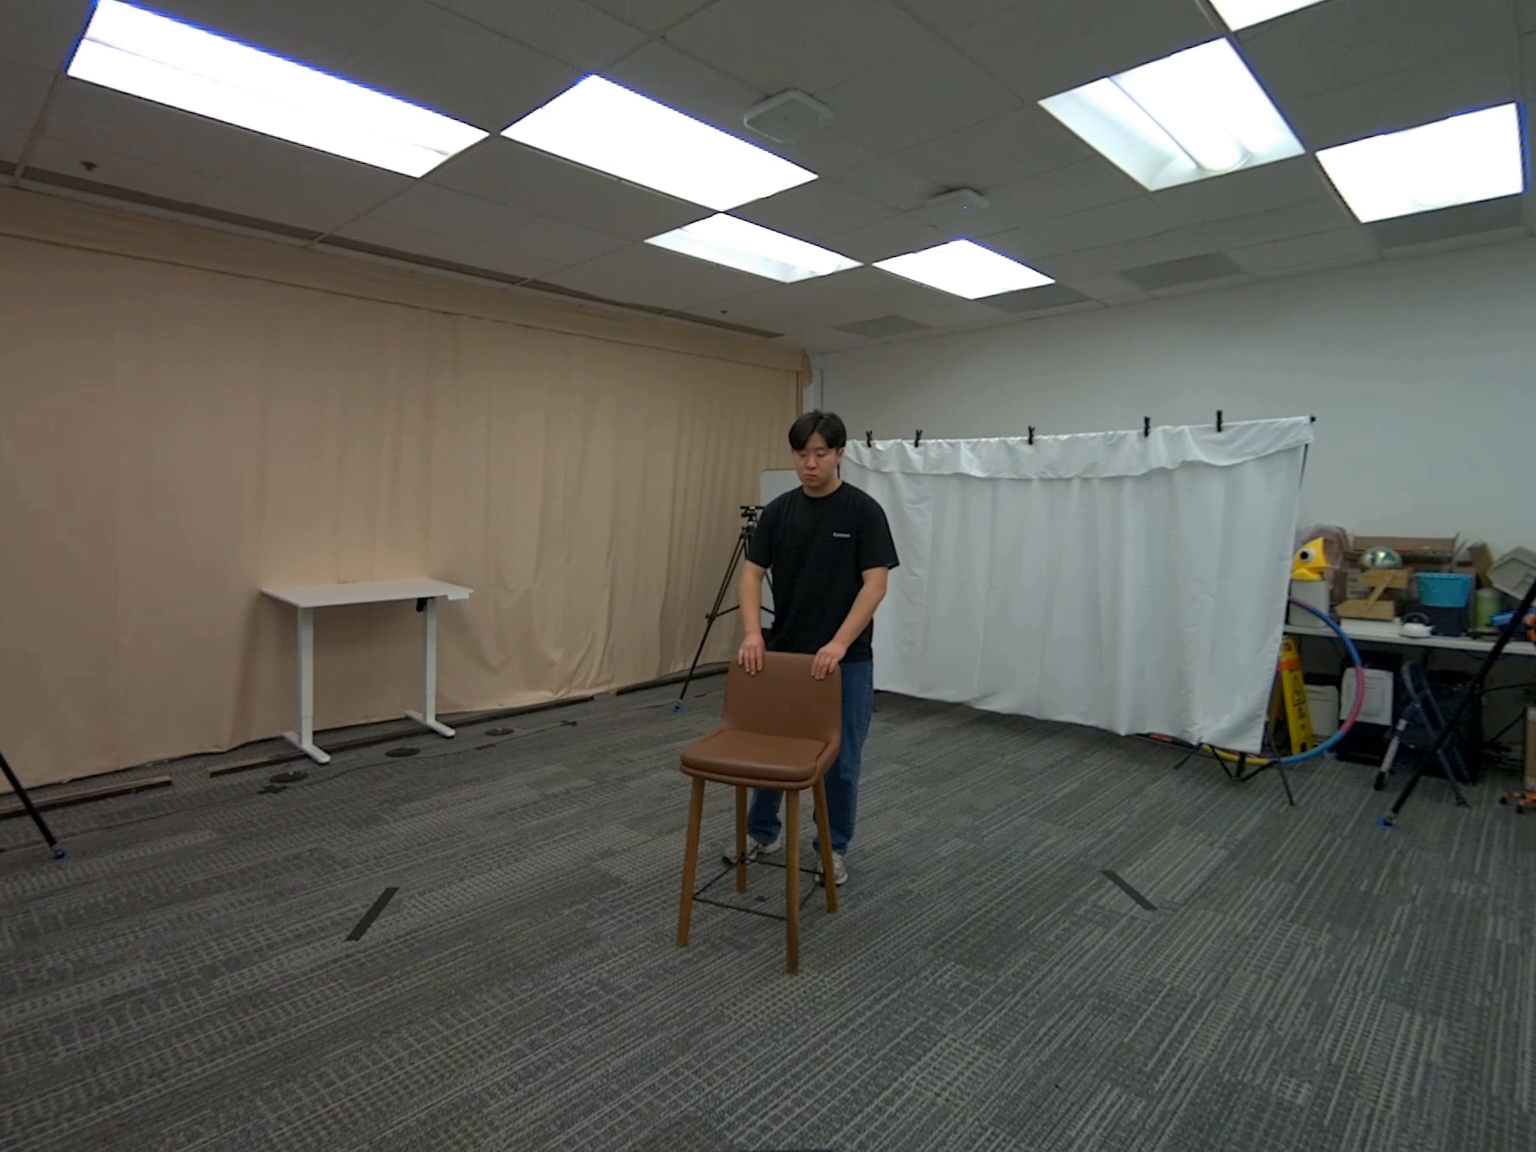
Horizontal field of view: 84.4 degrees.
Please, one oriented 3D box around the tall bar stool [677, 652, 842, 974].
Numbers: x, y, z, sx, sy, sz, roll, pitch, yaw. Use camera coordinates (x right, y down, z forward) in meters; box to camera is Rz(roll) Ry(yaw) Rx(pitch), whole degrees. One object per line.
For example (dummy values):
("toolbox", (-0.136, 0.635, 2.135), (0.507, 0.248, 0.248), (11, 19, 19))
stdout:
("tall bar stool", (-0.014, 0.722, 2.766), (0.468, 0.889, 0.456), (2, 2, 26))
